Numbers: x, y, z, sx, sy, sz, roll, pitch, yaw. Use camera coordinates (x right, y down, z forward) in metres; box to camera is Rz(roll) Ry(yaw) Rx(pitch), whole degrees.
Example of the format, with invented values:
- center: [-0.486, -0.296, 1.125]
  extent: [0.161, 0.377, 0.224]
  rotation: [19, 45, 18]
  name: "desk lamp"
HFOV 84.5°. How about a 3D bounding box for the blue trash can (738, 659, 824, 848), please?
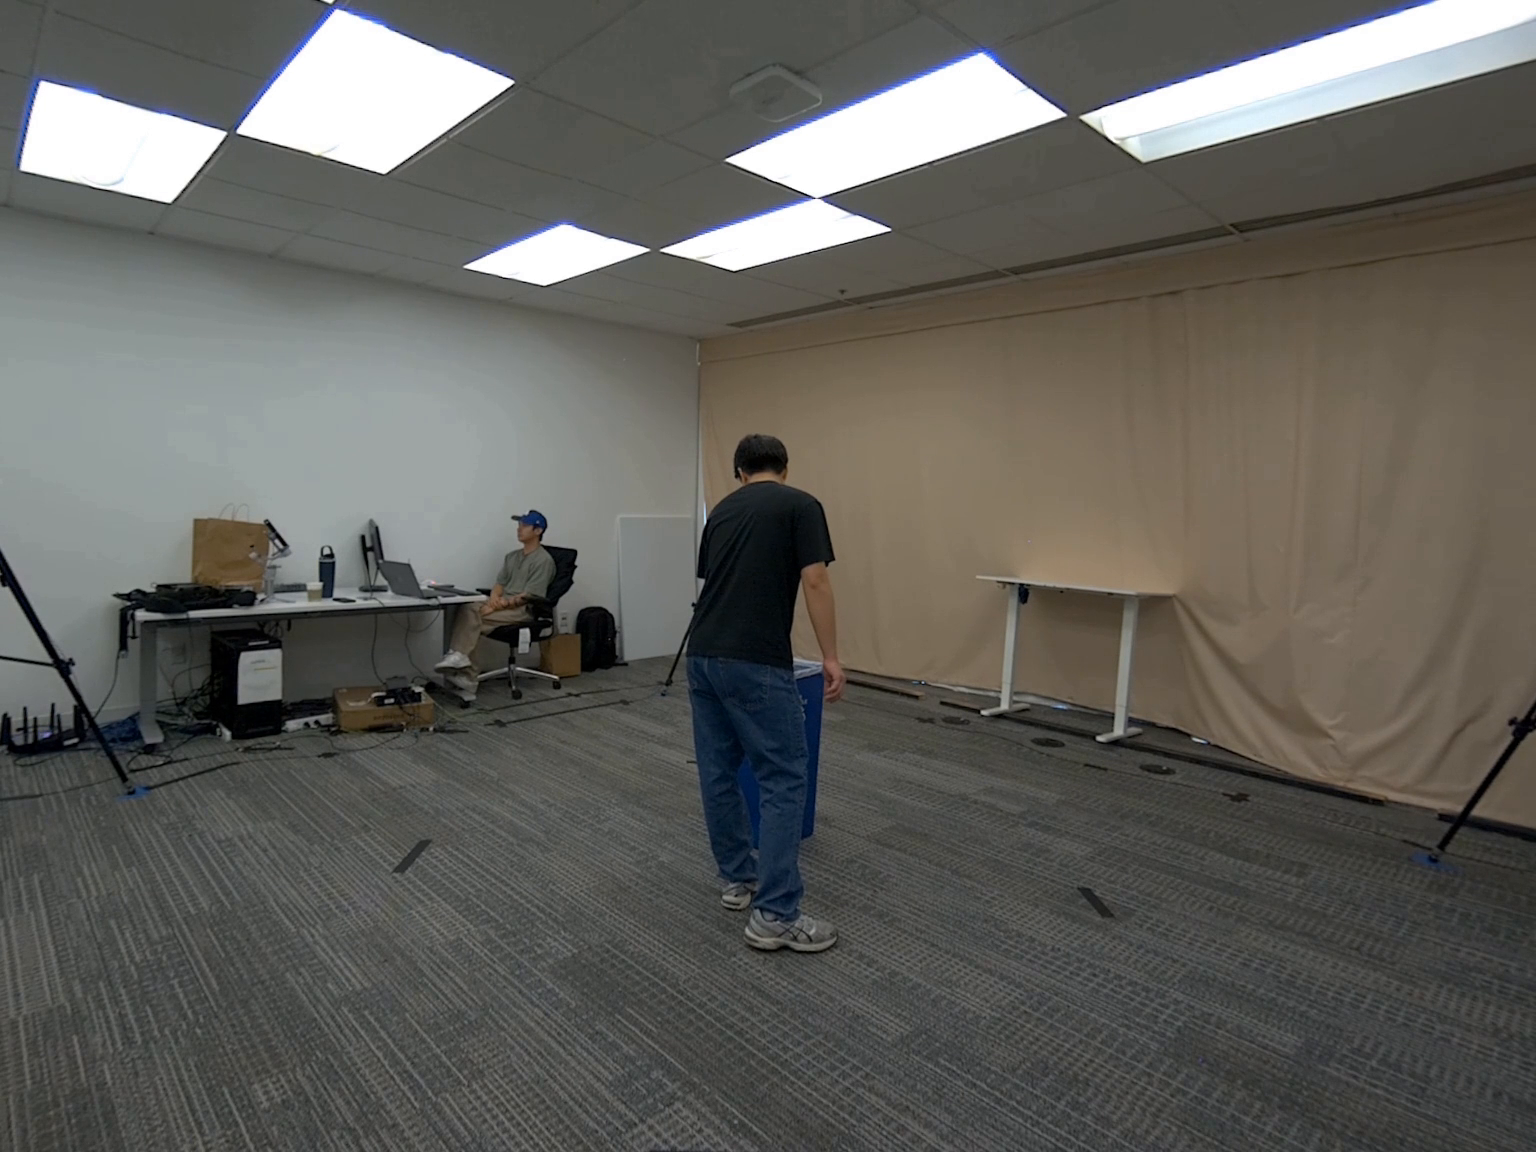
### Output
- center: [-0.004, 0.721, 3.508]
  extent: [0.388, 0.712, 0.365]
  rotation: [5, 4, 41]
  name: "blue trash can"
